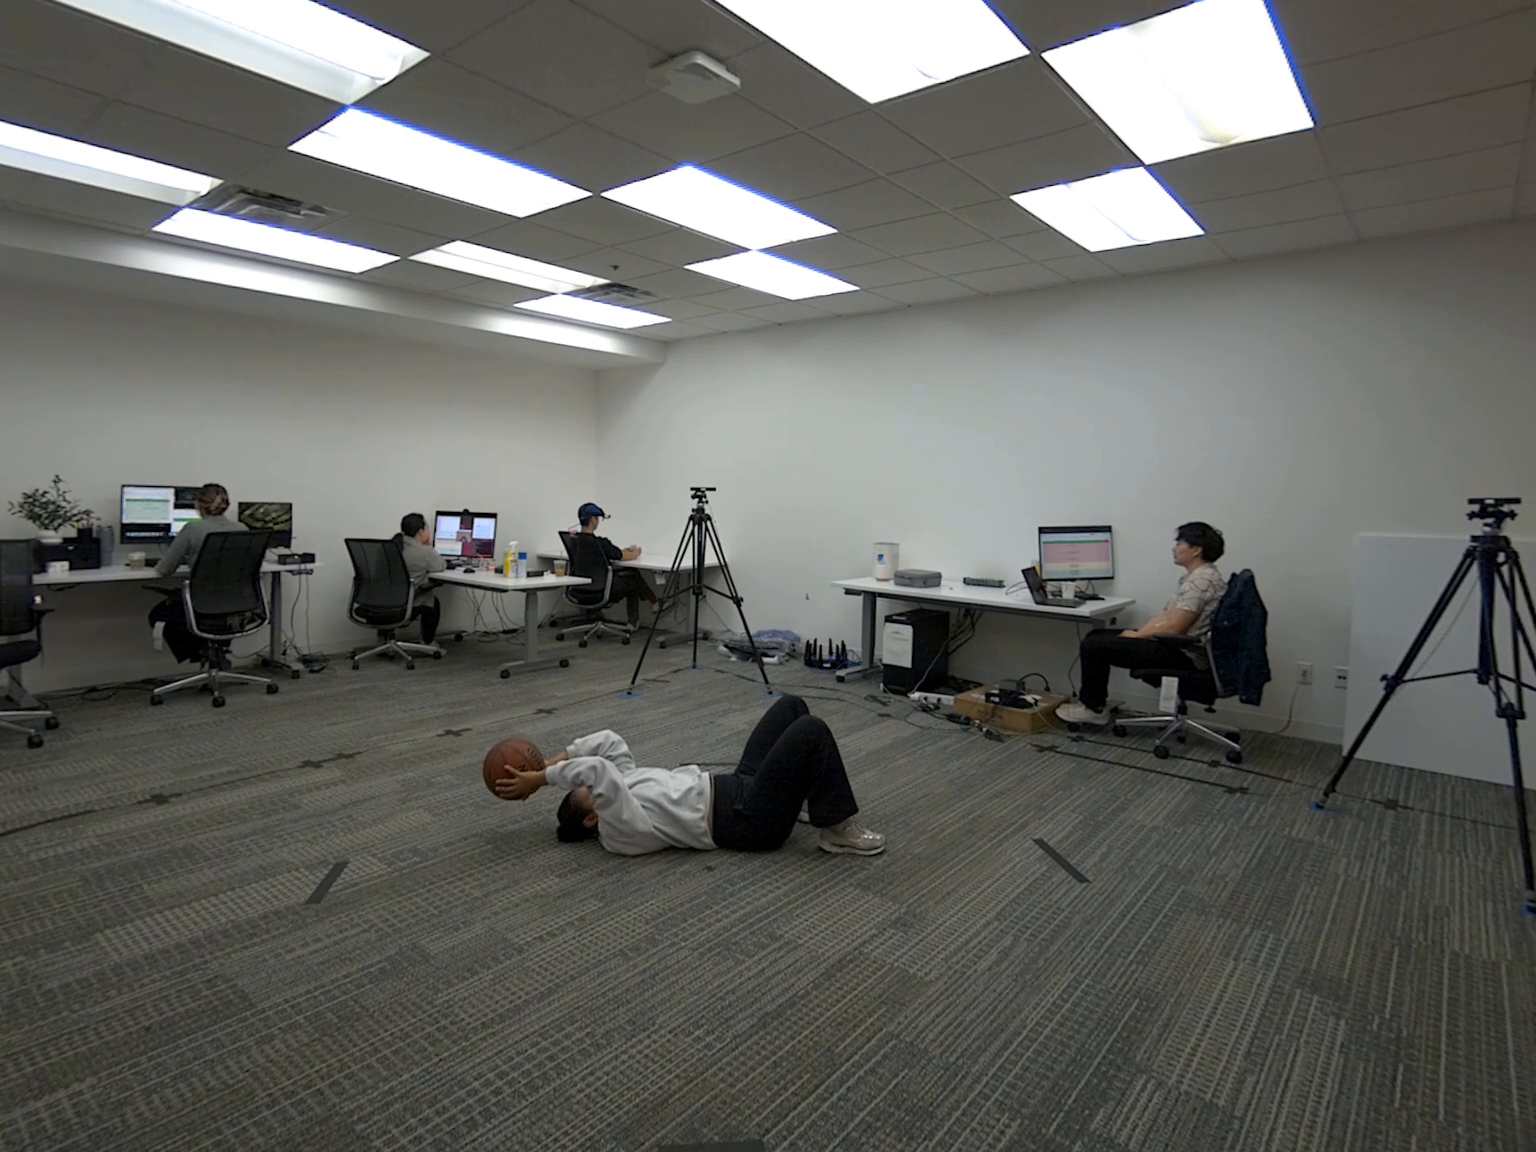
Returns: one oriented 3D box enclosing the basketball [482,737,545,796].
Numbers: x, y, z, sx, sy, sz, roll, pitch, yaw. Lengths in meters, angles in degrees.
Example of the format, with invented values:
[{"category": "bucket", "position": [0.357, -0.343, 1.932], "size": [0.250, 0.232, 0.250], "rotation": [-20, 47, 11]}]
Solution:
[{"category": "basketball", "position": [-1.013, 0.754, 3.356], "size": [0.235, 0.235, 0.237], "rotation": [1, 4, -2]}]
